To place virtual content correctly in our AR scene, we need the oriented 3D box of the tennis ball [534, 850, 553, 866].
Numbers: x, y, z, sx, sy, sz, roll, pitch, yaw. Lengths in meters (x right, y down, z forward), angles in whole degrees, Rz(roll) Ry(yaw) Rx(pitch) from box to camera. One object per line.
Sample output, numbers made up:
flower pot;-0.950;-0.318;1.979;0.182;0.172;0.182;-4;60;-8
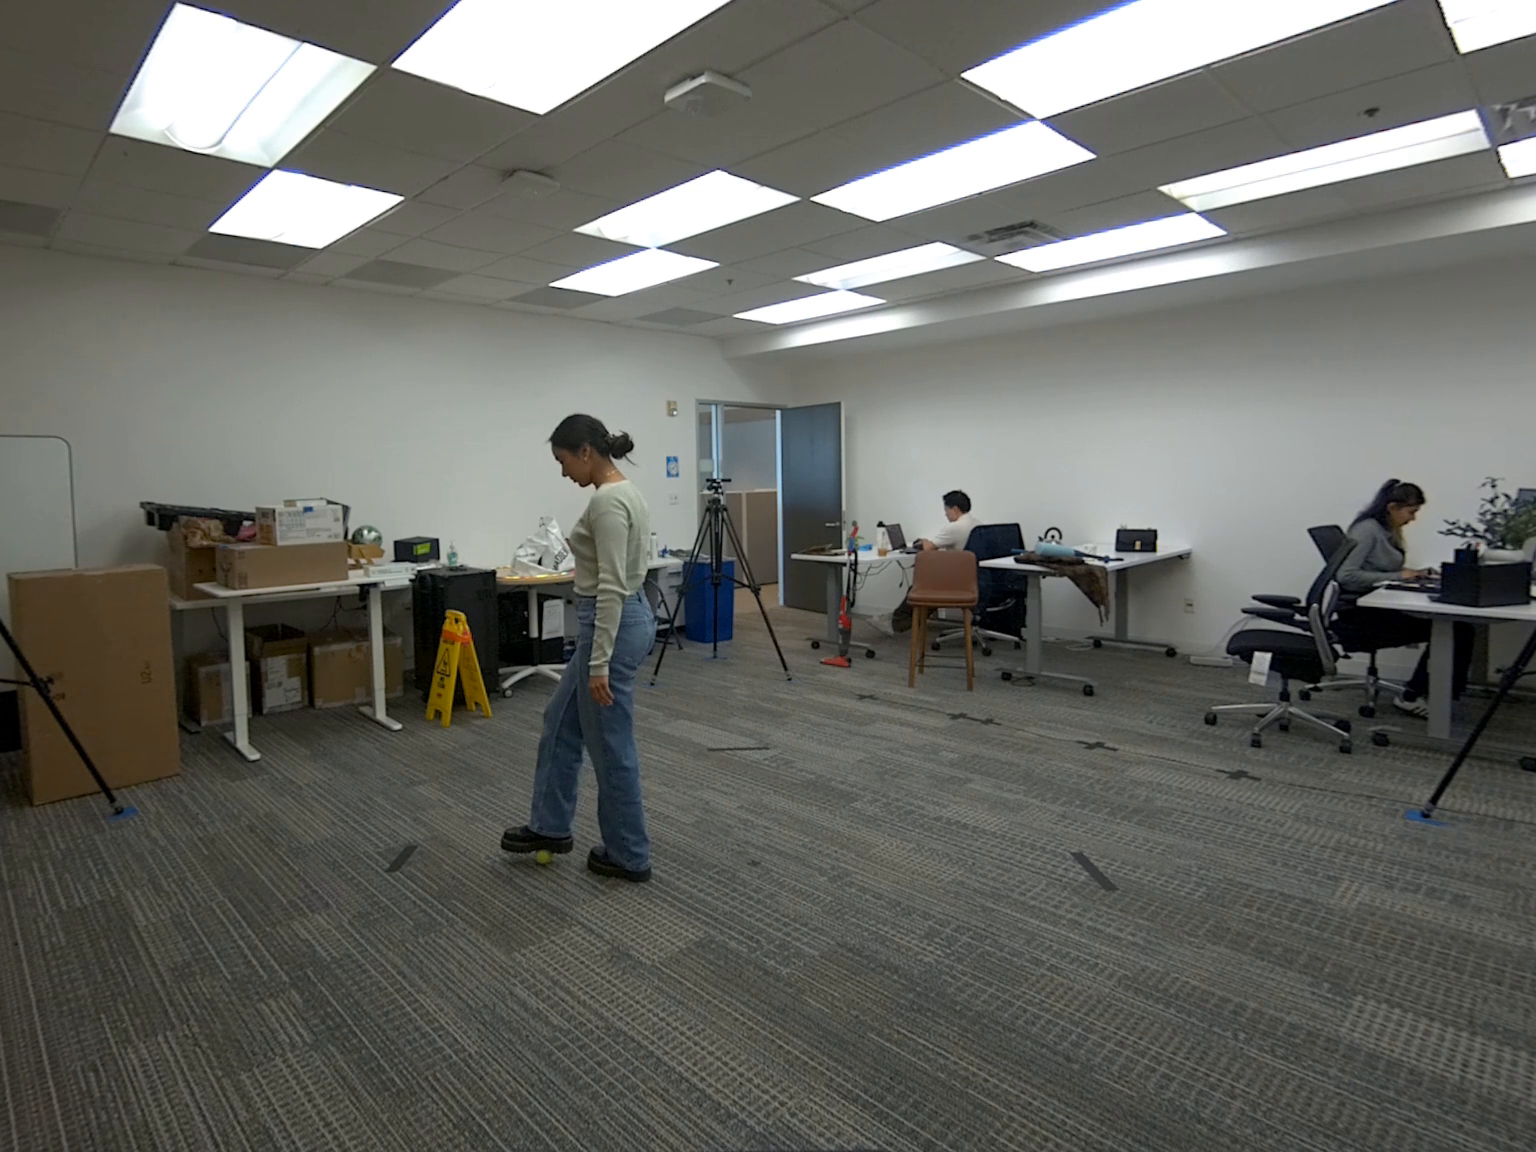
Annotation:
tennis ball;-0.824;1.018;3.136;0.066;0.066;0.067;-1;5;-2
